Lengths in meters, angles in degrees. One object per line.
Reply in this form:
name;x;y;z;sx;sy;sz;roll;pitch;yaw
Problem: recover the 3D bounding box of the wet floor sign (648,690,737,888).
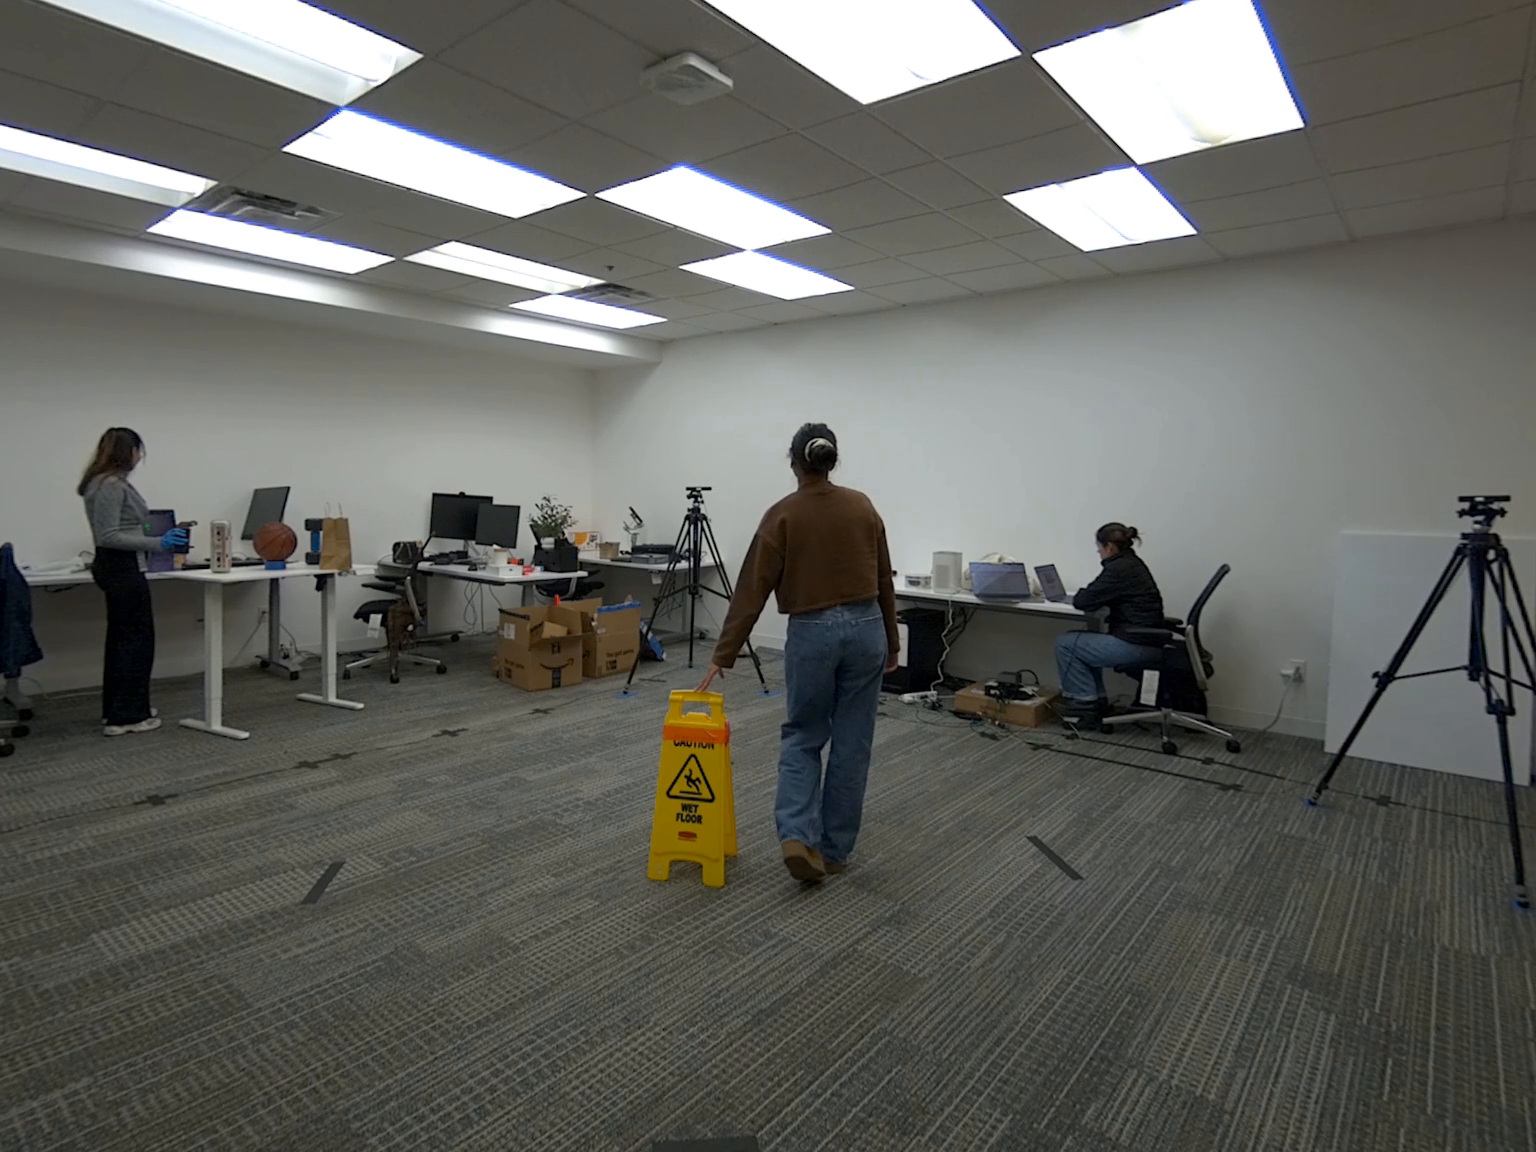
wet floor sign;-0.275;0.742;3.105;0.286;0.644;0.287;1;4;10
